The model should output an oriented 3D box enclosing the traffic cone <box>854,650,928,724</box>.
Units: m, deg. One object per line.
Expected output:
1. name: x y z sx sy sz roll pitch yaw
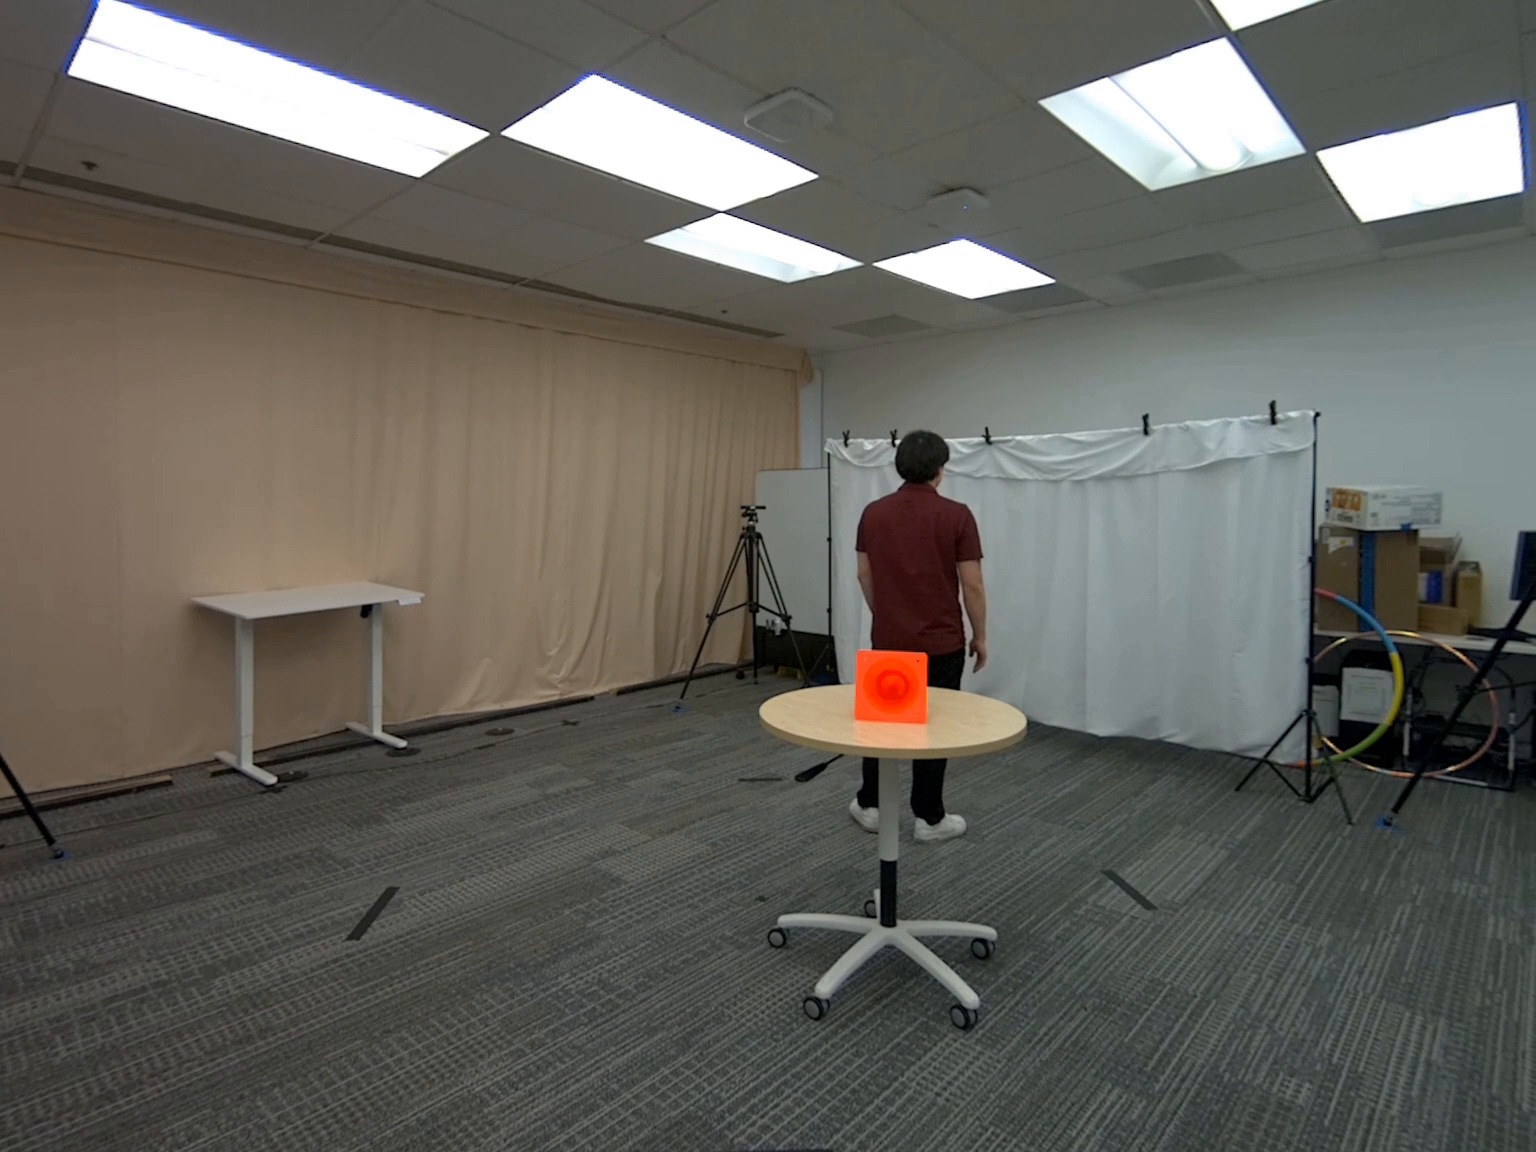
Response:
1. traffic cone: 0.390 0.331 2.558 0.206 0.205 0.378 7 -5 9
